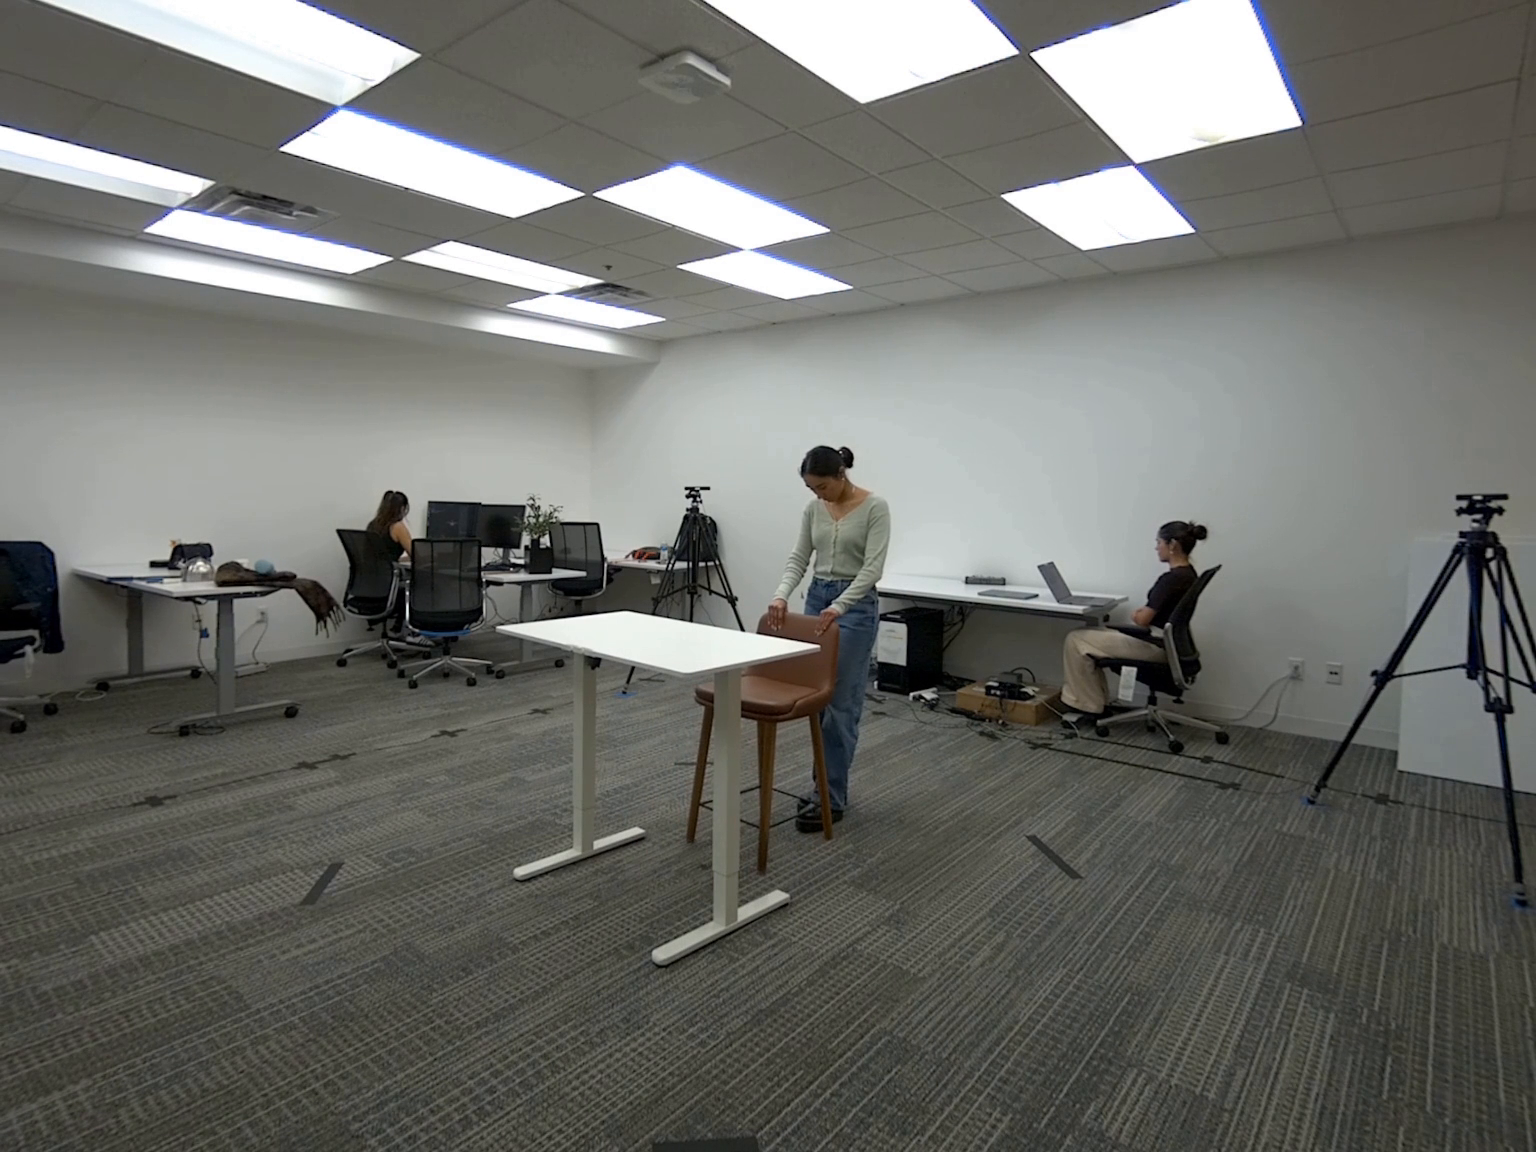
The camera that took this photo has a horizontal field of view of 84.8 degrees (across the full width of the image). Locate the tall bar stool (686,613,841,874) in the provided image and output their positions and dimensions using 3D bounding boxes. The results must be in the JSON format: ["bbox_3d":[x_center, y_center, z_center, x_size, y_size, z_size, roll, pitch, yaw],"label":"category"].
[{"bbox_3d":[-0.018,0.602,3.349,0.472,0.888,0.453,4,2,43],"label":"tall bar stool"}]
